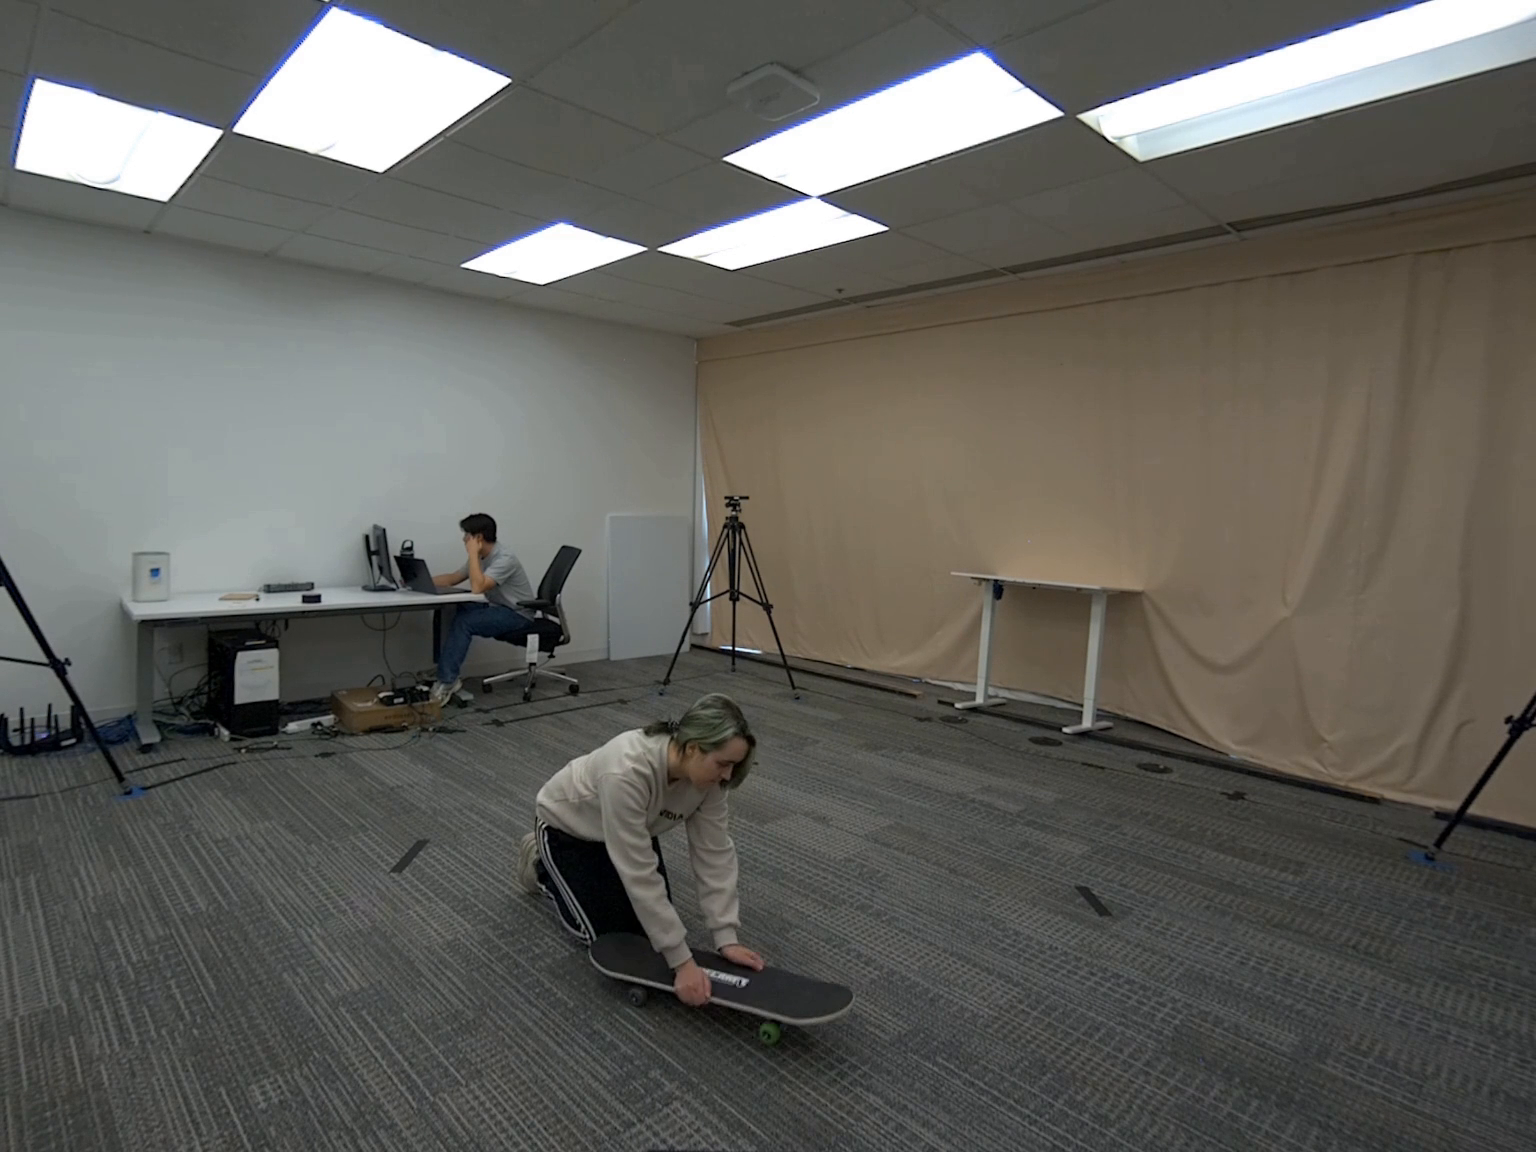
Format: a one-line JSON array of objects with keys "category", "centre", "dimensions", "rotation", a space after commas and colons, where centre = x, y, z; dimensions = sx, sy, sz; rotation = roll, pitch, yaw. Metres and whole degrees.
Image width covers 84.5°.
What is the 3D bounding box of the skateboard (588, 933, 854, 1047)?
[{"category": "skateboard", "centre": [-0.151, 1.113, 2.270], "dimensions": [0.800, 0.110, 0.190], "rotation": [-1, 3, 27]}]
